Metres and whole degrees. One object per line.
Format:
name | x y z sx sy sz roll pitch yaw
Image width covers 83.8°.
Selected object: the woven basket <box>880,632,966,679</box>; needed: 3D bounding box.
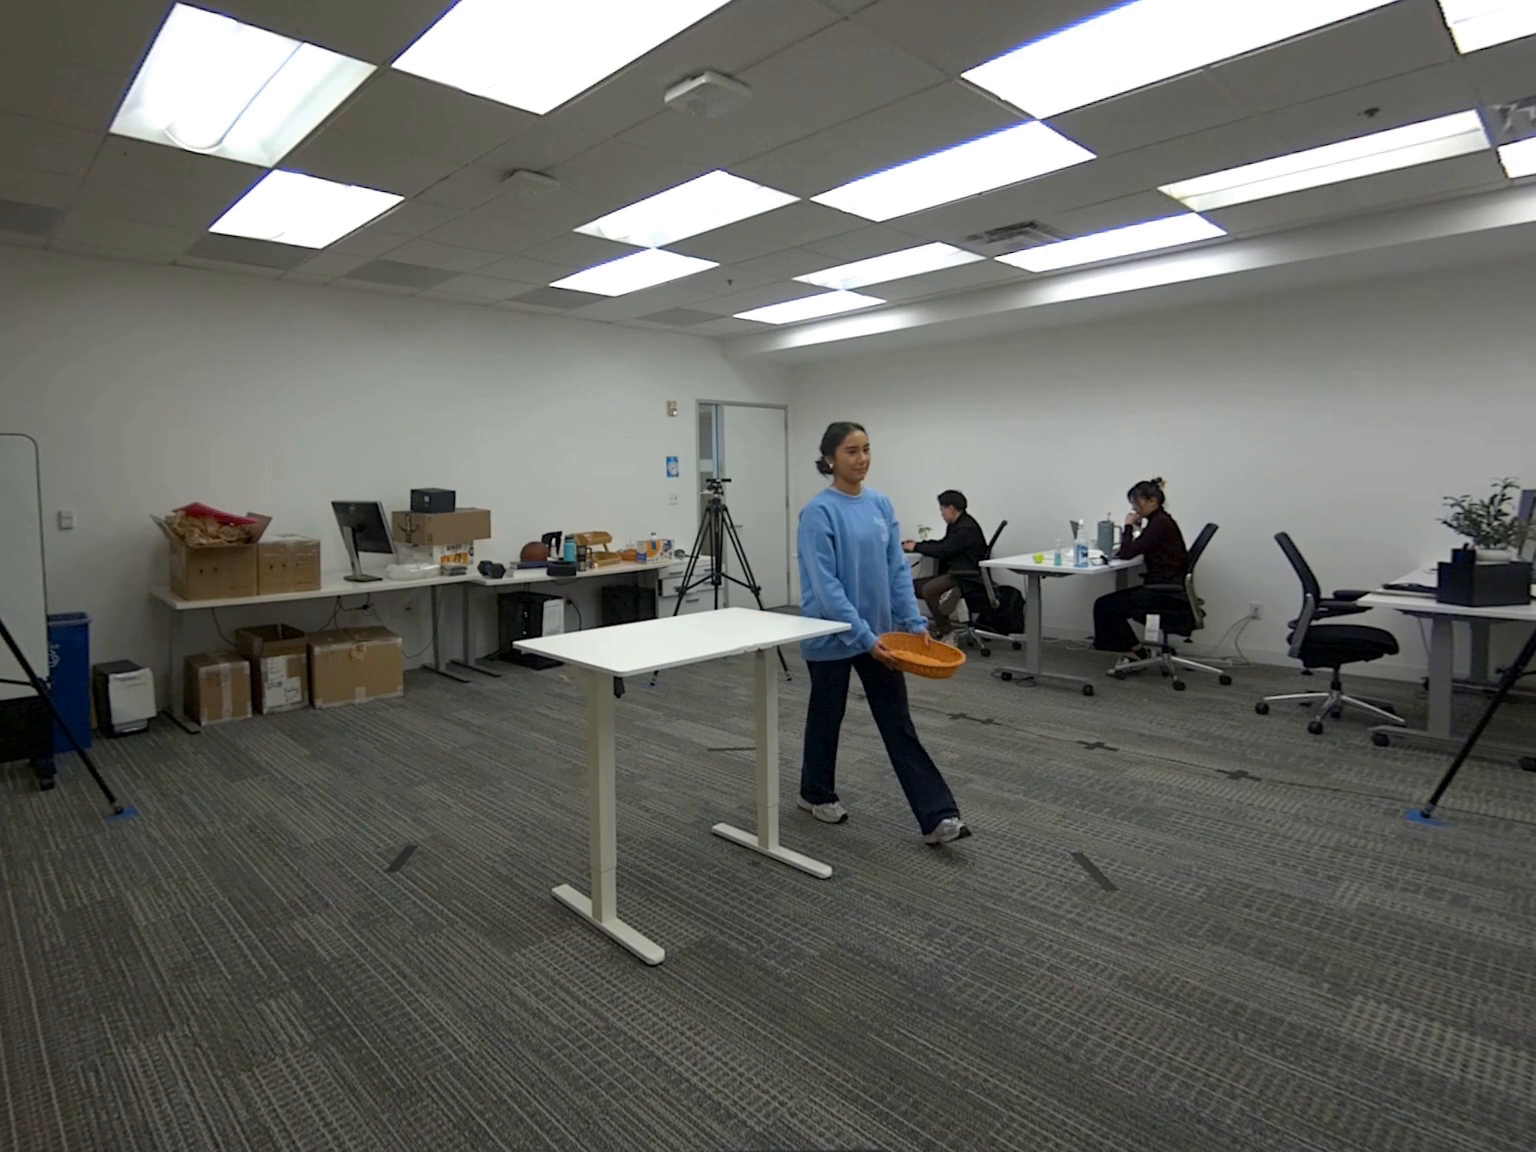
woven basket | 0.547 0.292 3.140 0.362 0.072 0.247 16 19 35
